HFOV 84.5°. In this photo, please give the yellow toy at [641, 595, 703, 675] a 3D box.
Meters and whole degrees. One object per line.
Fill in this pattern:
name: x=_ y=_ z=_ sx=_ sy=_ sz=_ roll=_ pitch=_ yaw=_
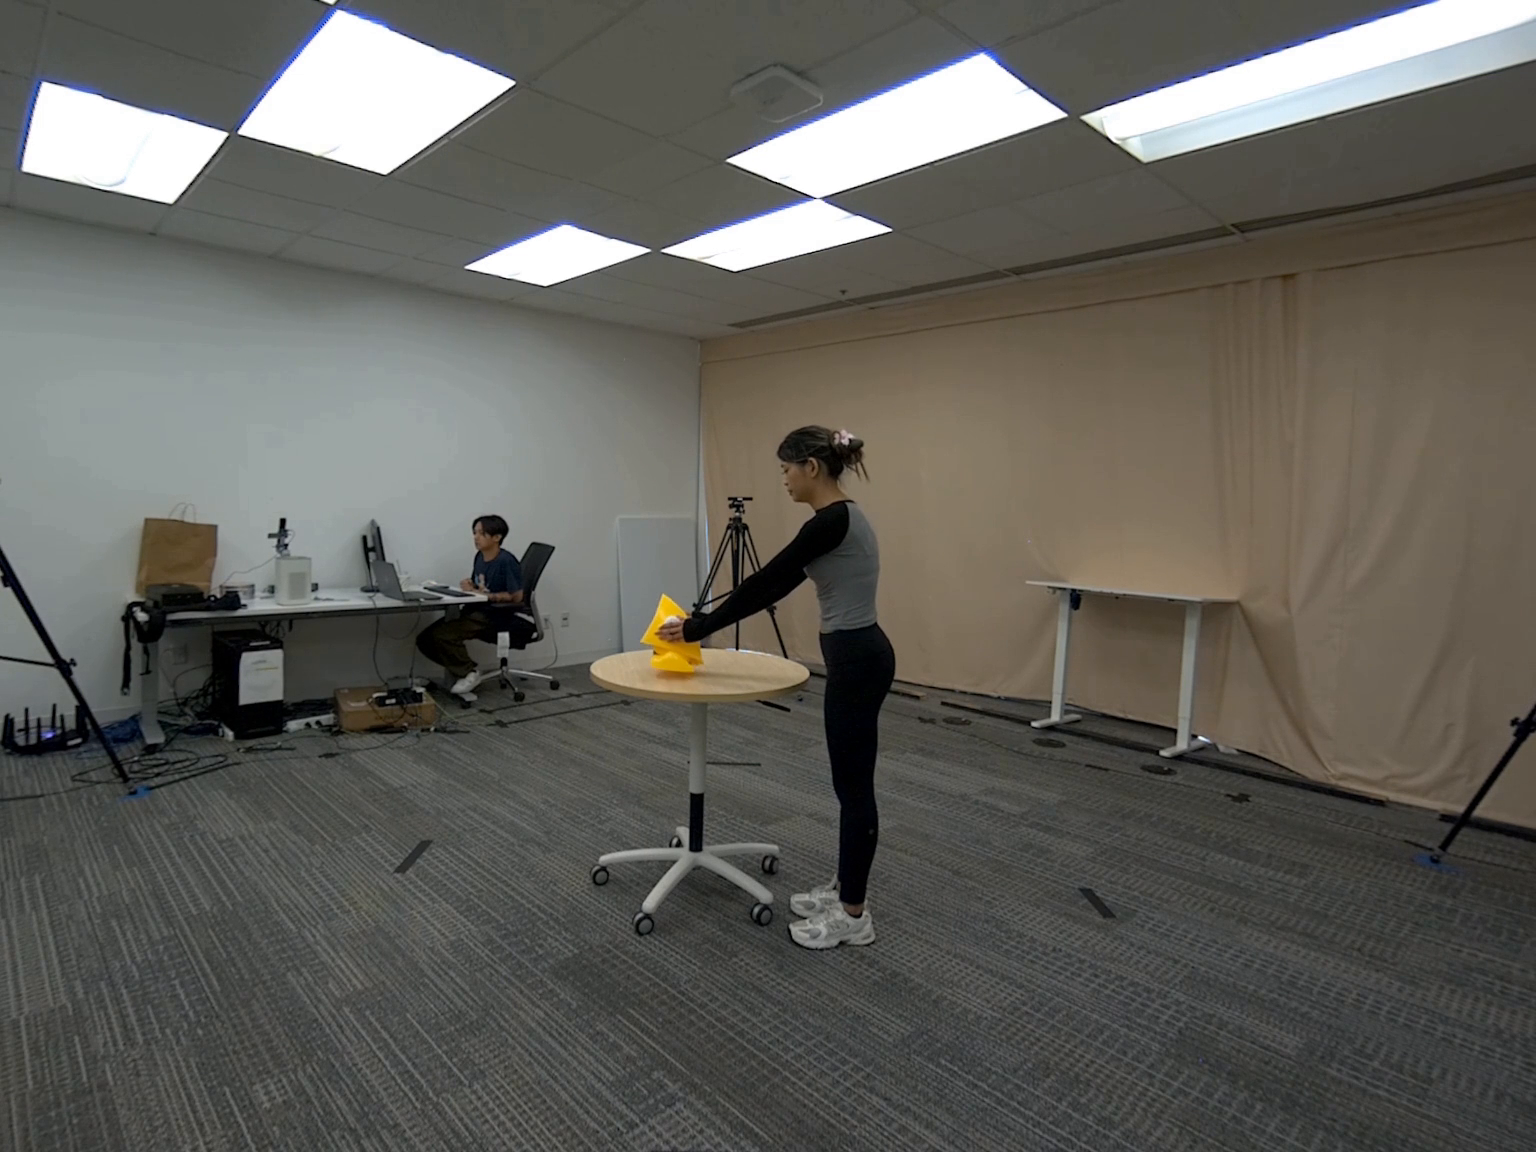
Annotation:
yellow toy: x=-0.311 y=0.187 z=2.833 sx=0.195 sy=0.230 sz=0.203 roll=6 pitch=5 yaw=12
